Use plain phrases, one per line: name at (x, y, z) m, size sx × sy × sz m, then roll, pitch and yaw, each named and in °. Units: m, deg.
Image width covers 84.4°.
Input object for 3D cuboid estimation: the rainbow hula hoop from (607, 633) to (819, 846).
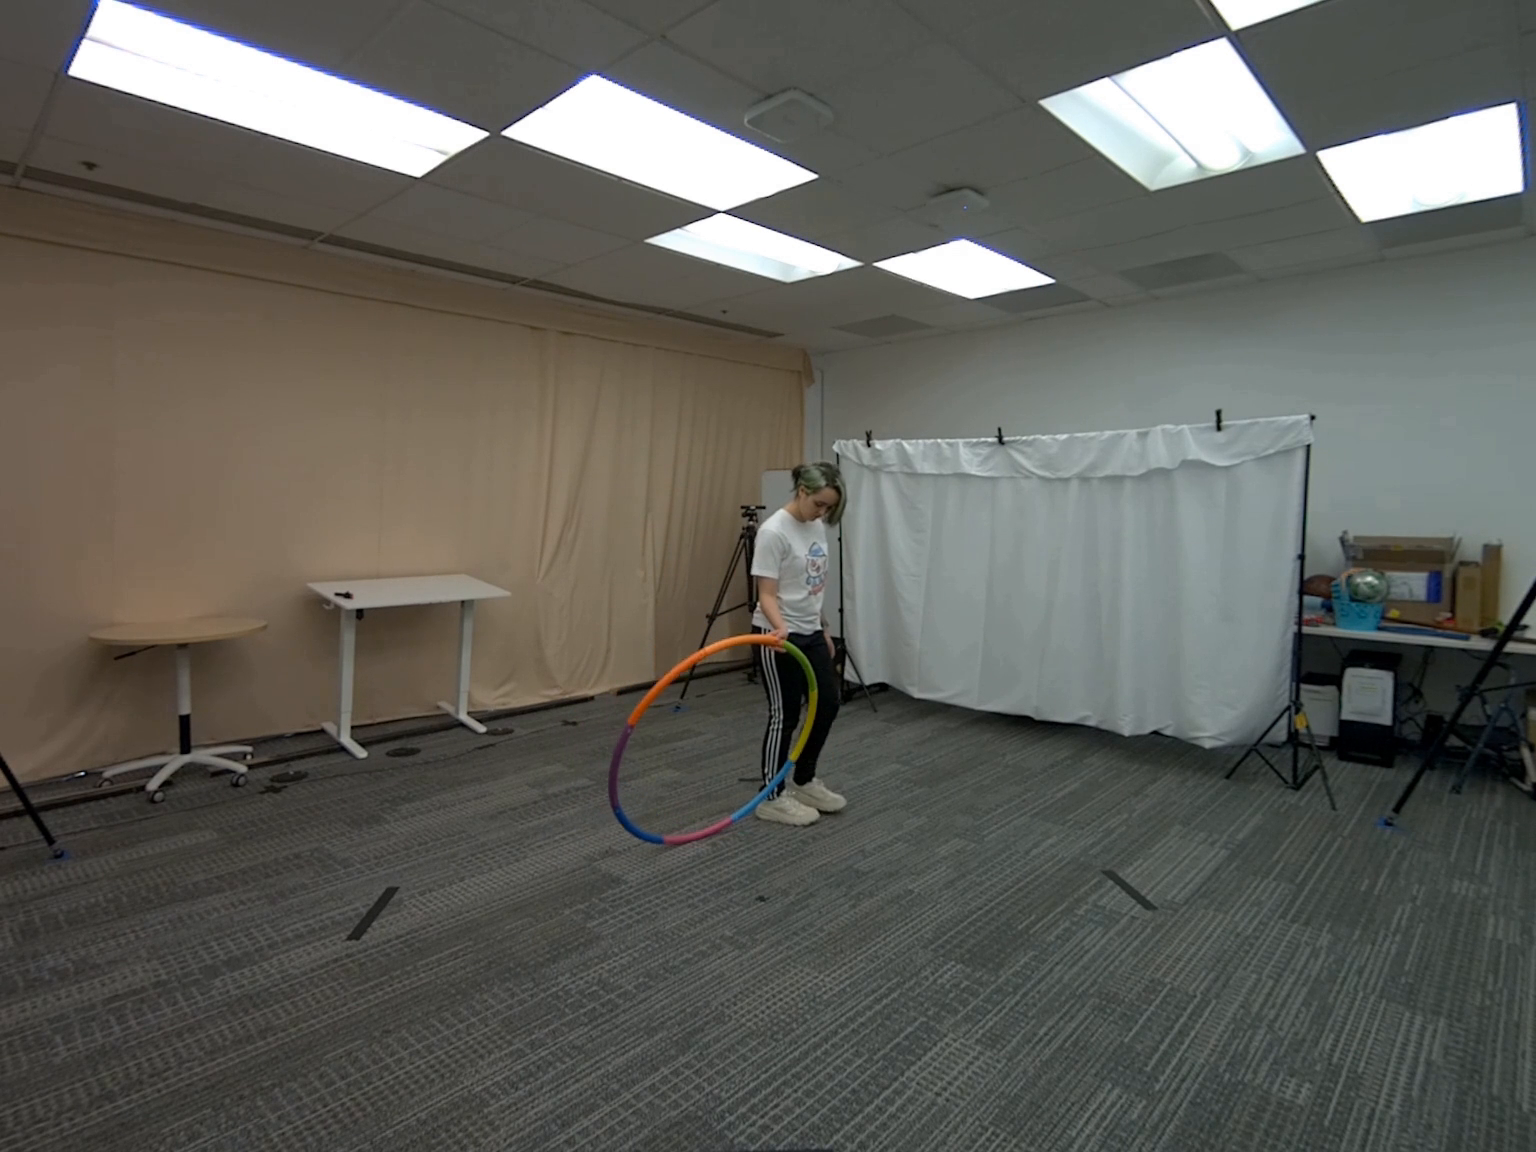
rainbow hula hoop at (-0.194, 0.666, 3.349) m, size 0.949 × 0.972 × 0.037 m, roll -3°, pitch 28°, yaw -38°
